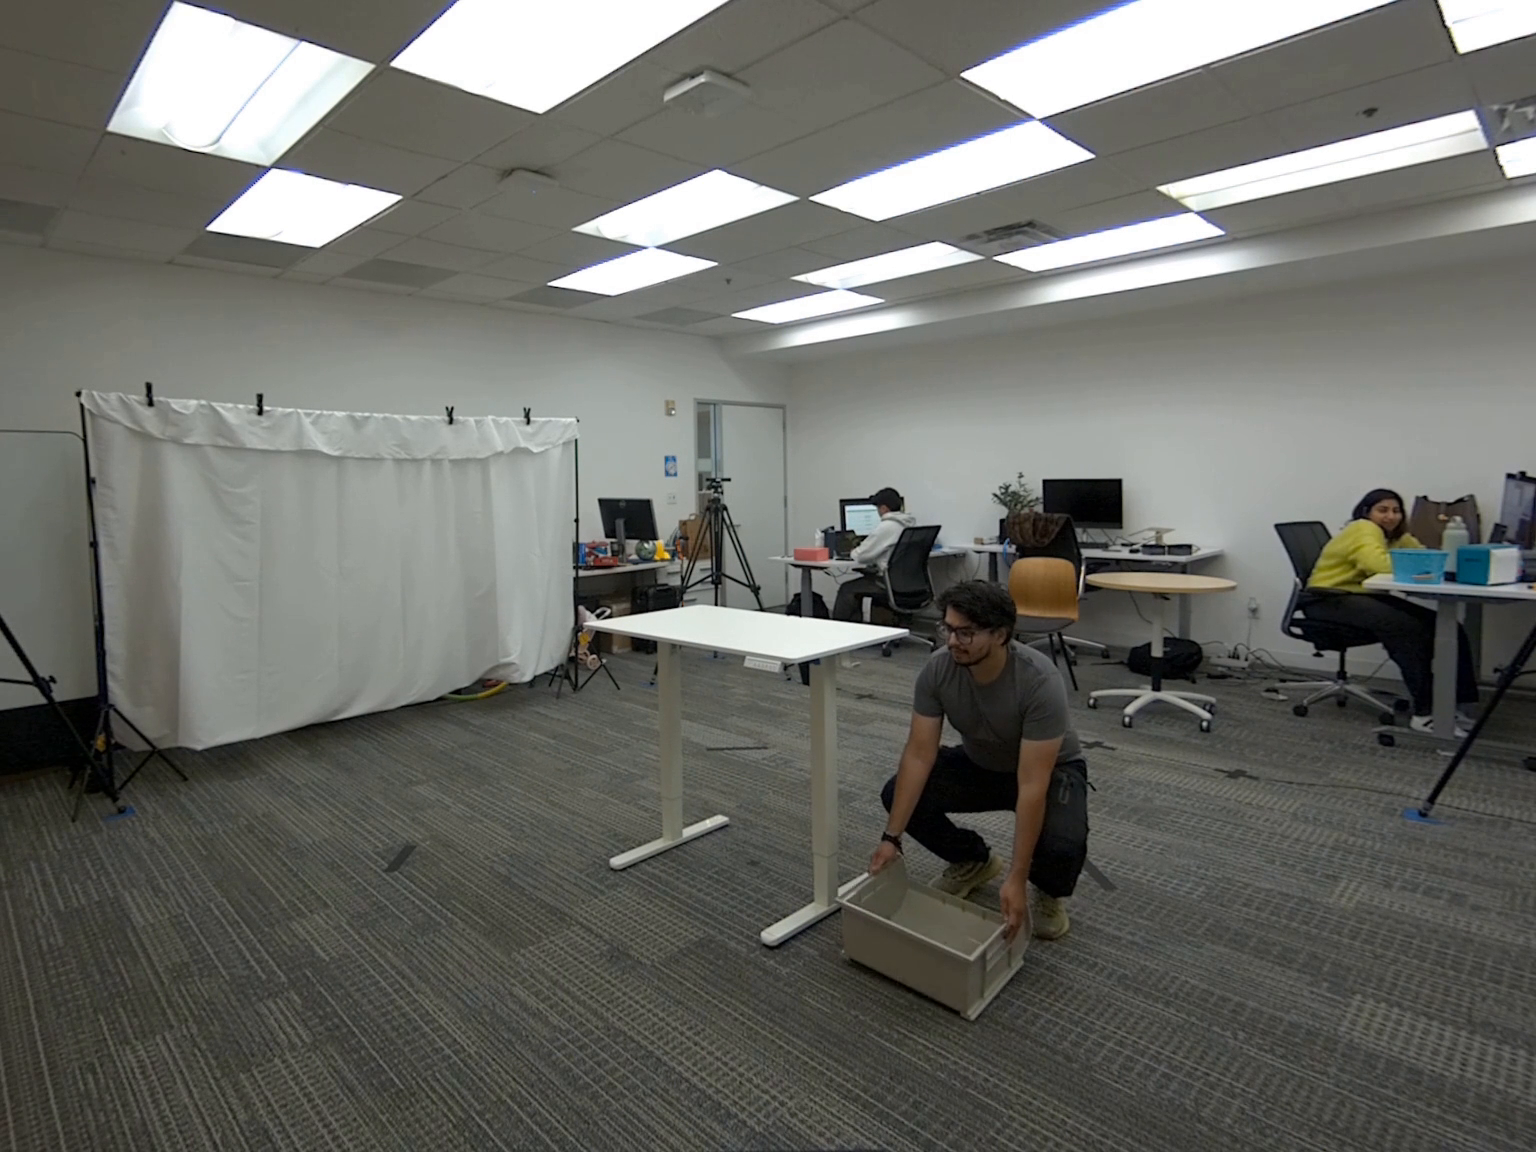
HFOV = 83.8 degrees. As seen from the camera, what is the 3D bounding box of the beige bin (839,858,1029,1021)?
[{"bbox_3d":[0.483,1.003,2.427,0.436,0.187,0.369,7,13,40],"label":"beige bin"}]
